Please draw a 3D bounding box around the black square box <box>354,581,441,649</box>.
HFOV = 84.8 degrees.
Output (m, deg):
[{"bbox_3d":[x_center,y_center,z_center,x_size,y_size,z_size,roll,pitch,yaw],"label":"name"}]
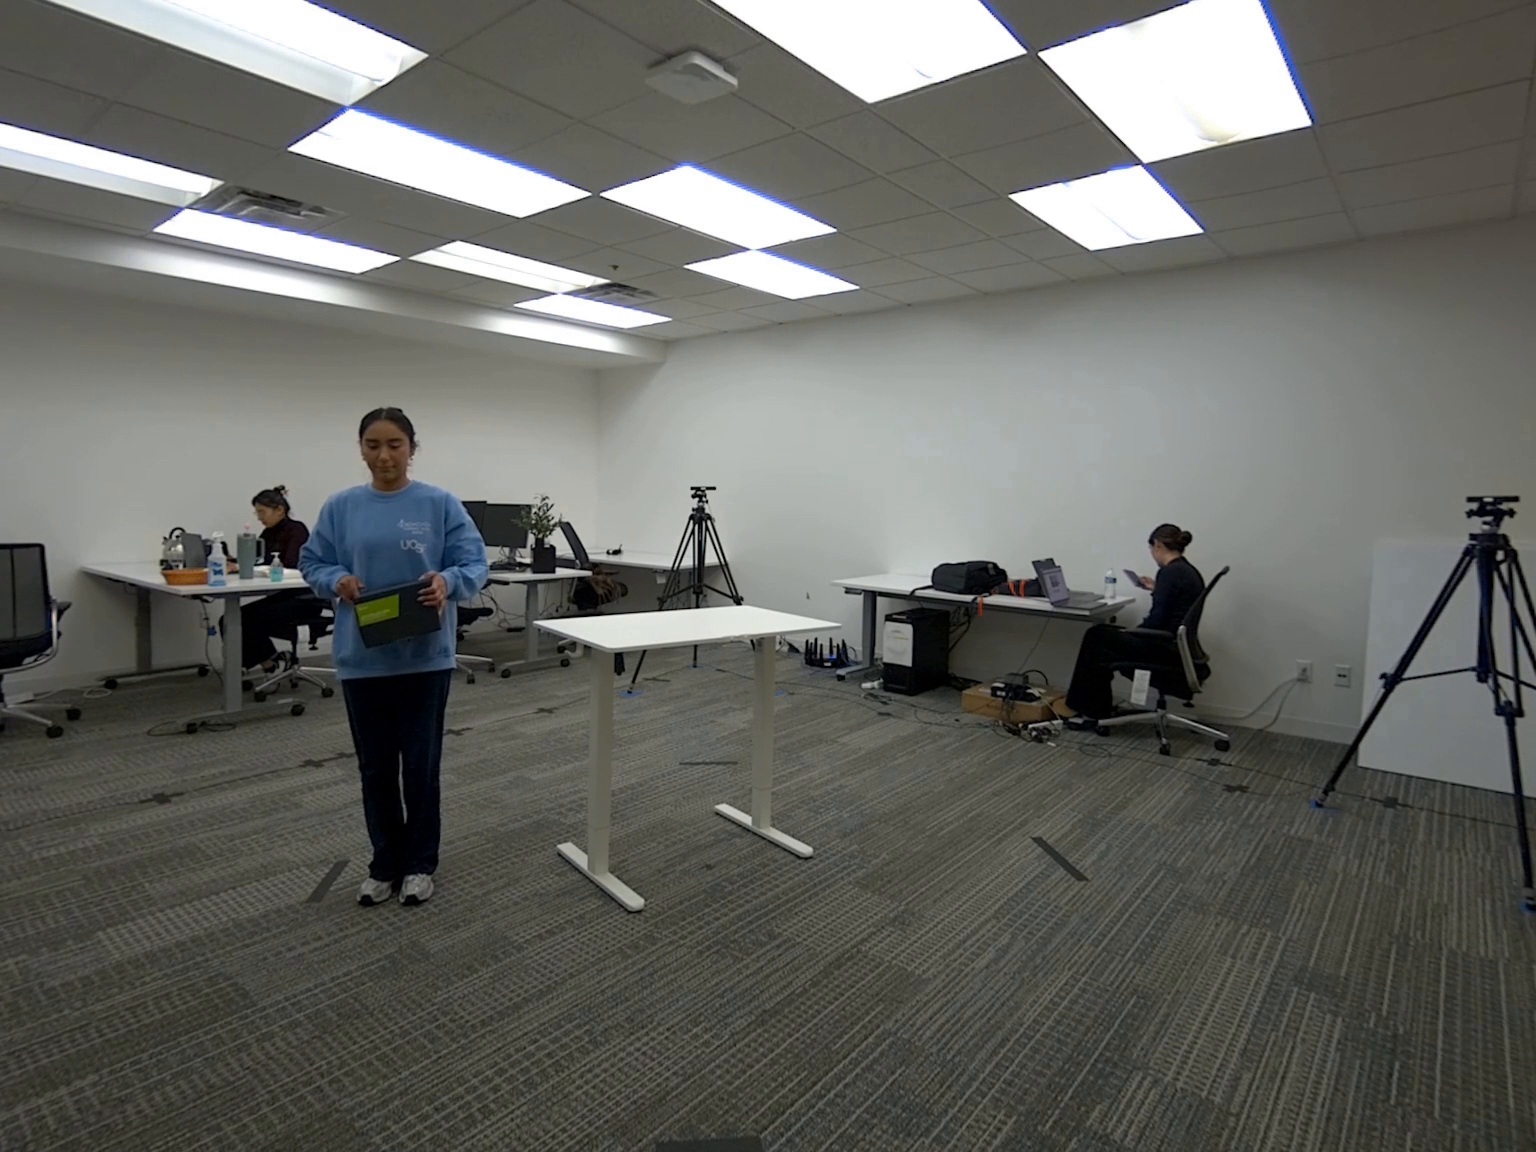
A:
[{"bbox_3d":[-1.179,0.110,2.661,0.225,0.155,0.221,-15,6,-17],"label":"black square box"}]
